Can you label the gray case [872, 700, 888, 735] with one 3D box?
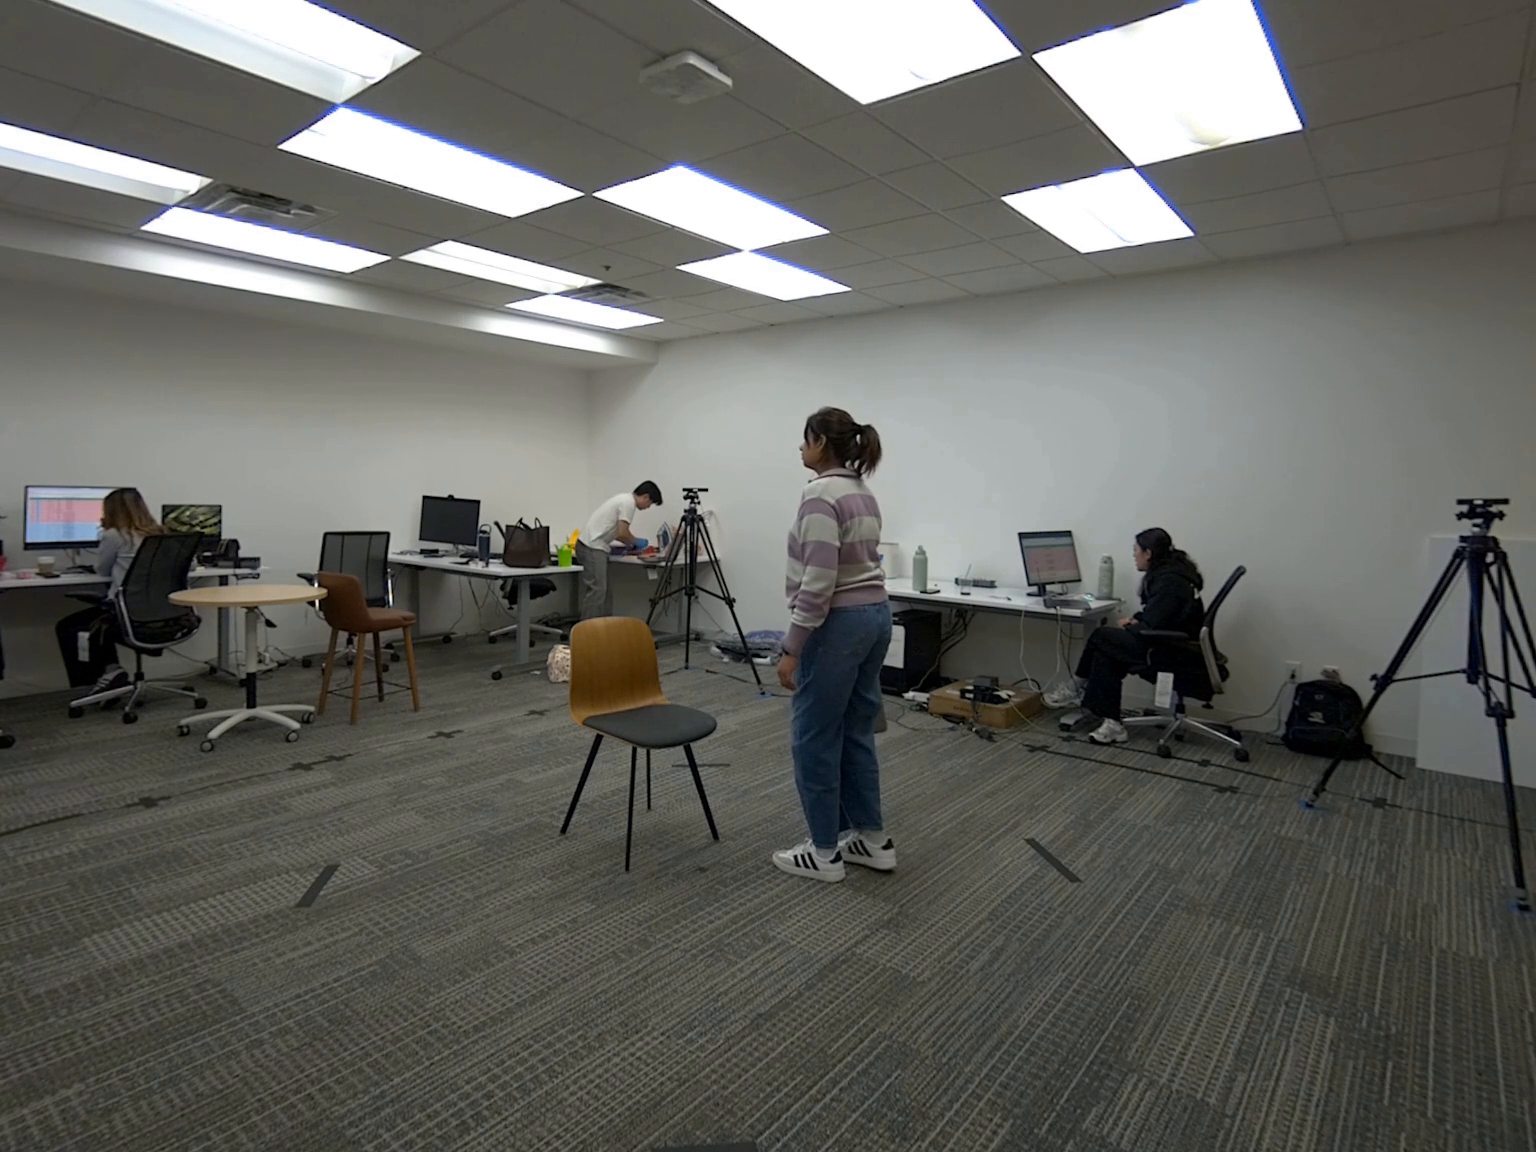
[{"bbox_3d":[0.328,0.510,3.408,0.255,0.262,0.104,-12,-4,-10],"label":"gray case"}]
